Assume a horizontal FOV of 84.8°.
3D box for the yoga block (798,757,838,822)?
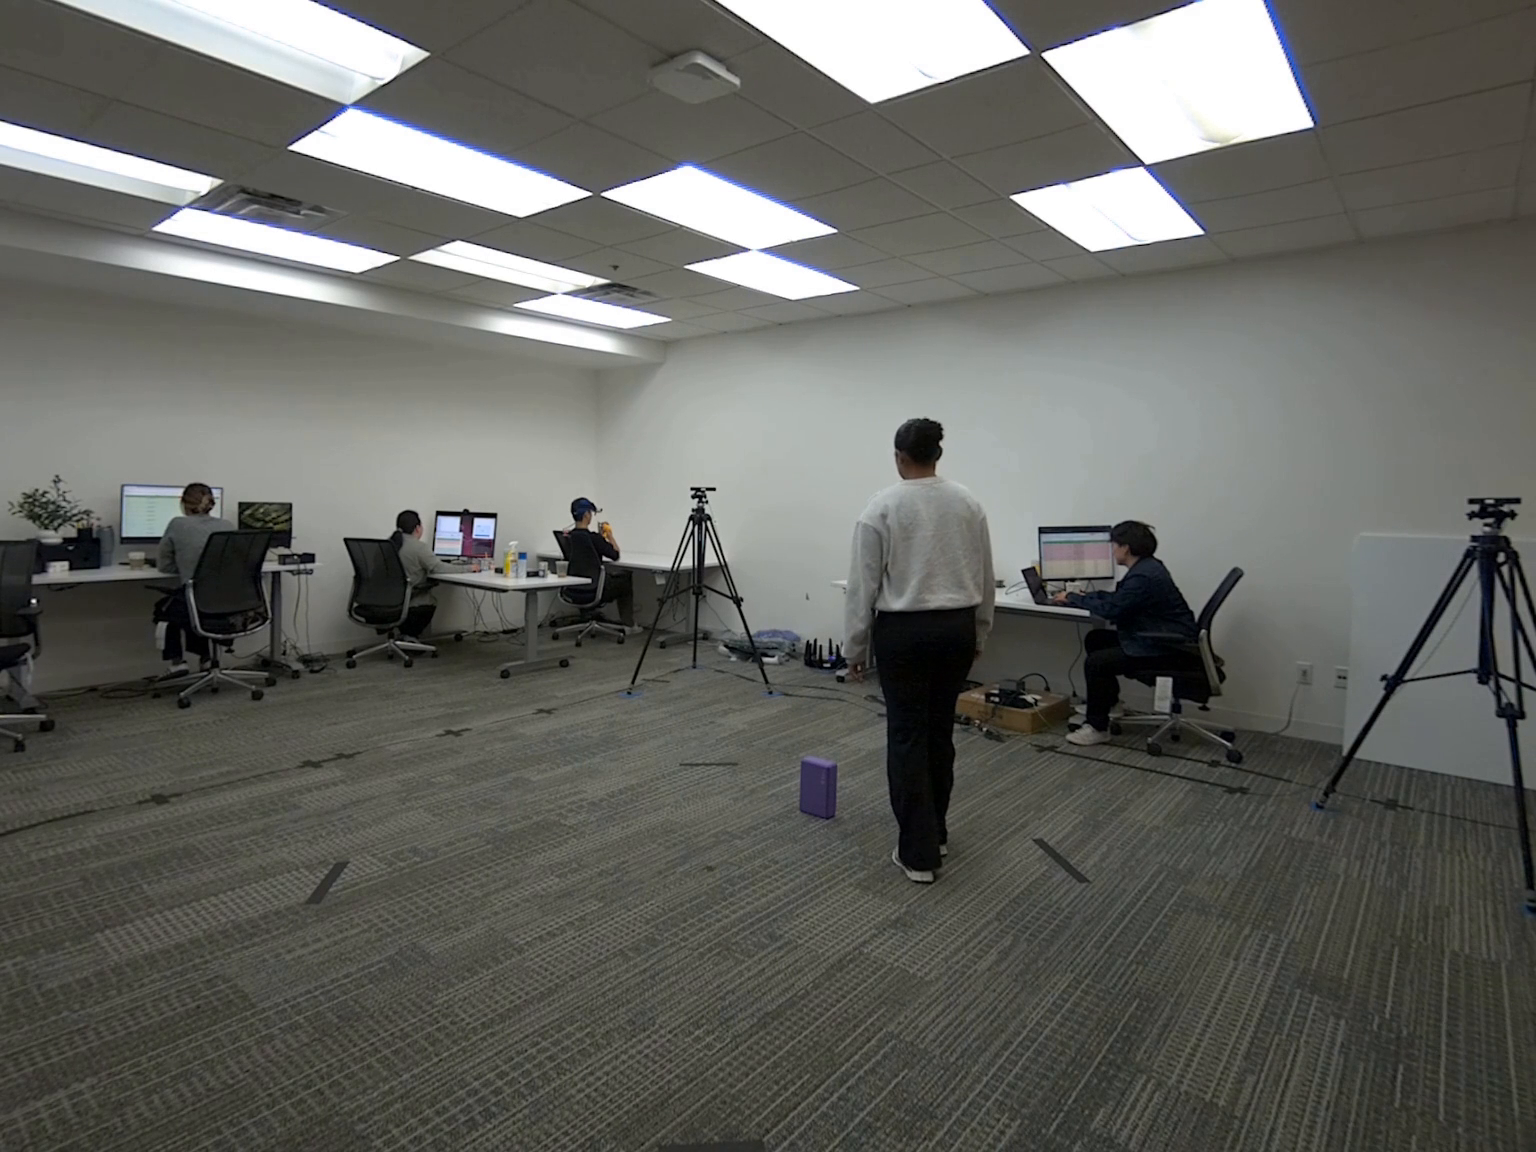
[{"bbox_3d":[0.206,0.902,3.658,0.154,0.229,0.074,3,4,40],"label":"yoga block"}]
